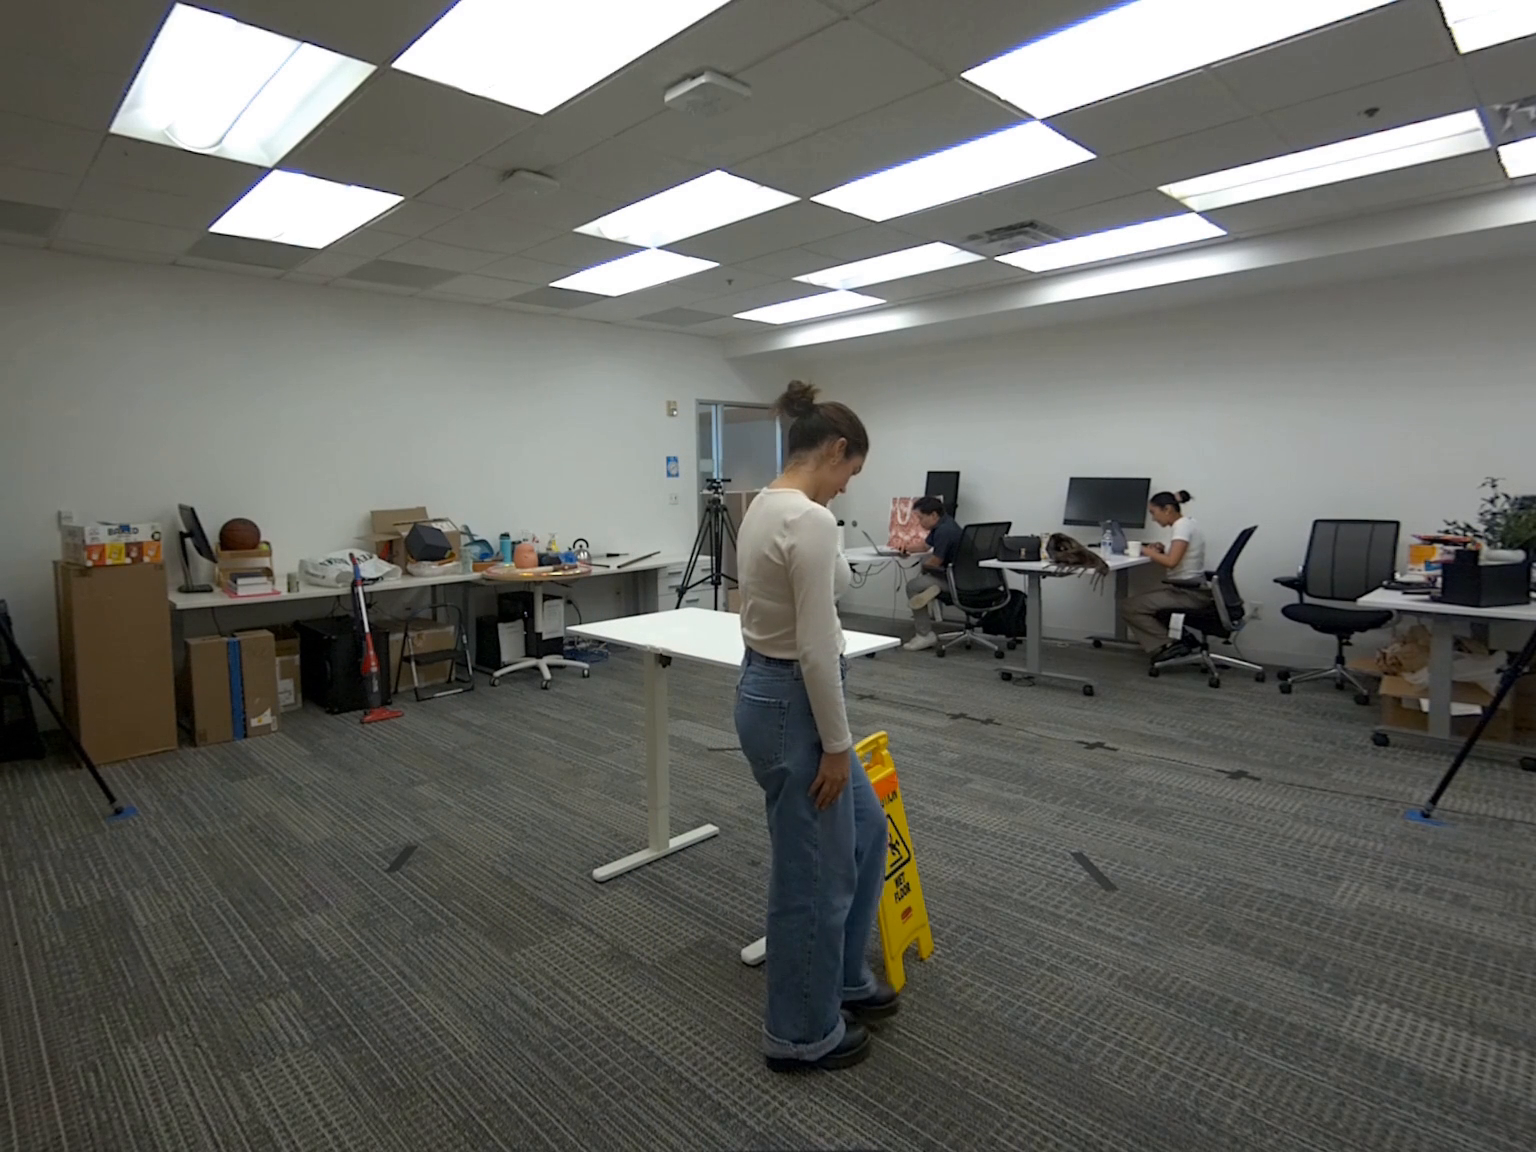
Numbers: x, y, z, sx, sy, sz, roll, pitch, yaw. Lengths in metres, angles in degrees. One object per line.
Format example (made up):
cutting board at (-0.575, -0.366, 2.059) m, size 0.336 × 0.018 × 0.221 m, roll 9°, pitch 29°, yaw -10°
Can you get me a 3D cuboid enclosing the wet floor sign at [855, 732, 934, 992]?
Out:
wet floor sign at (0.303, 0.791, 2.469) m, size 0.298 × 0.643 × 0.275 m, roll 3°, pitch 6°, yaw 36°
